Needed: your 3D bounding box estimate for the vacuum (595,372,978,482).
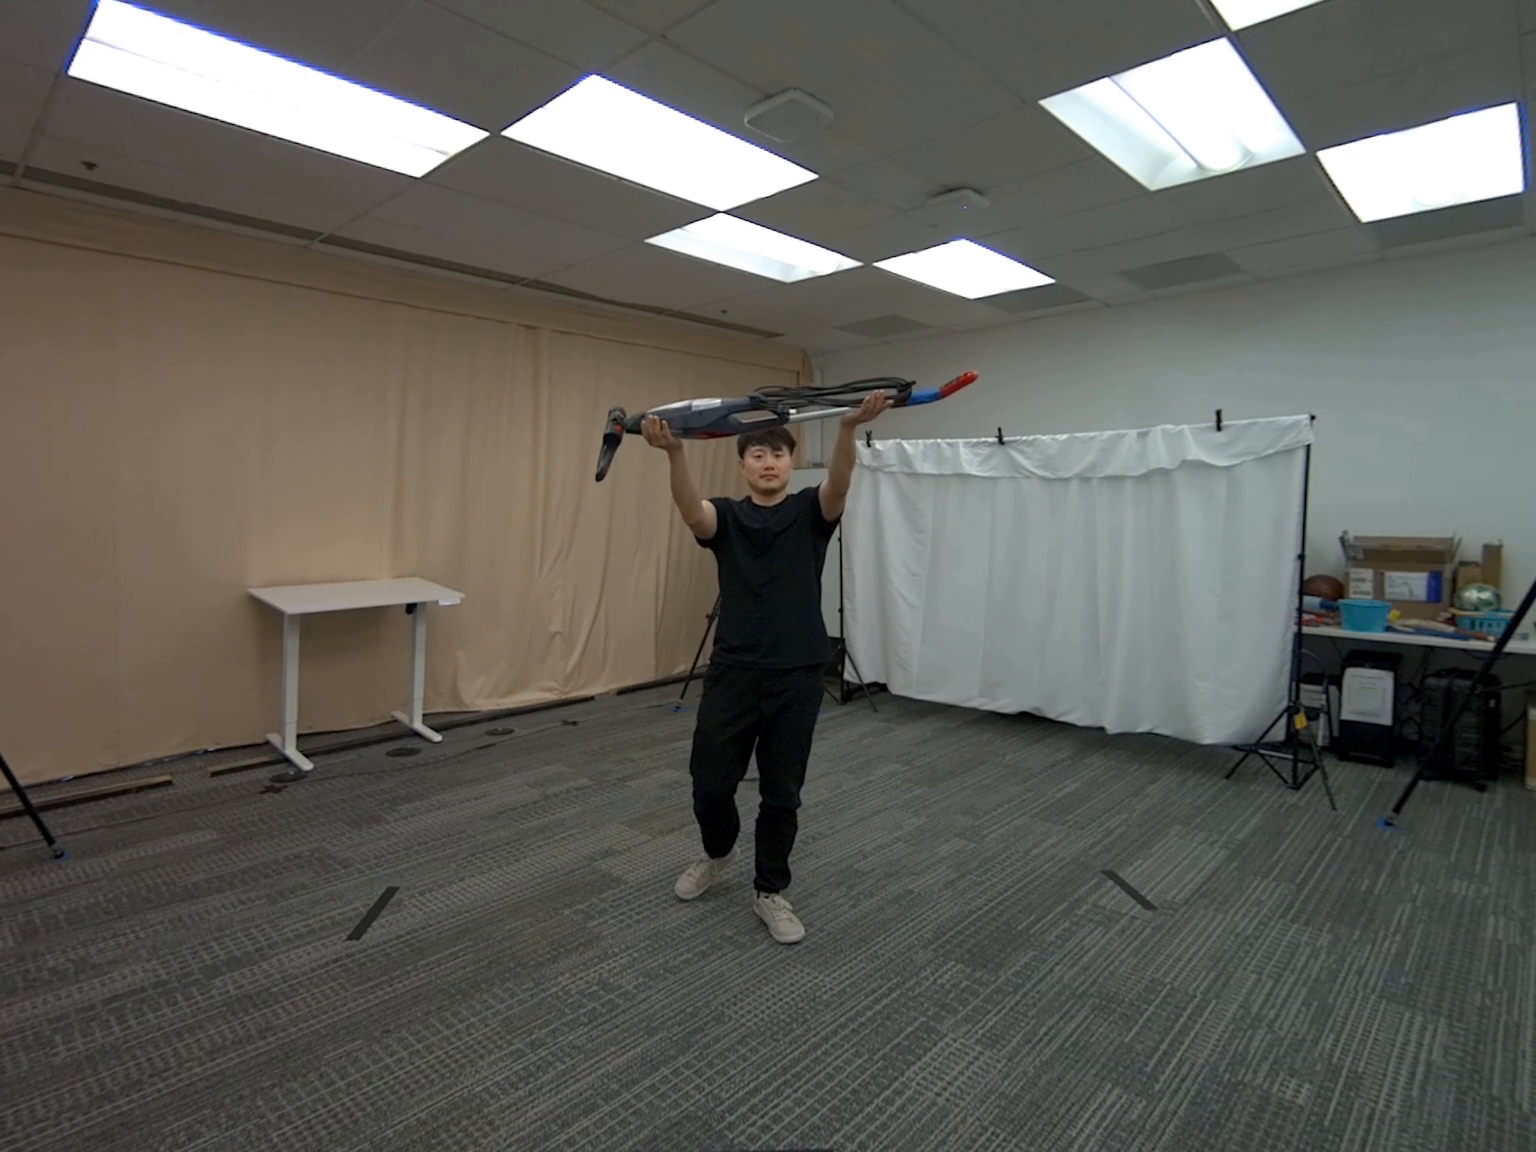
[{"bbox_3d":[0.035,-0.473,2.377,1.061,0.140,0.257,-9,44,11],"label":"vacuum"}]
